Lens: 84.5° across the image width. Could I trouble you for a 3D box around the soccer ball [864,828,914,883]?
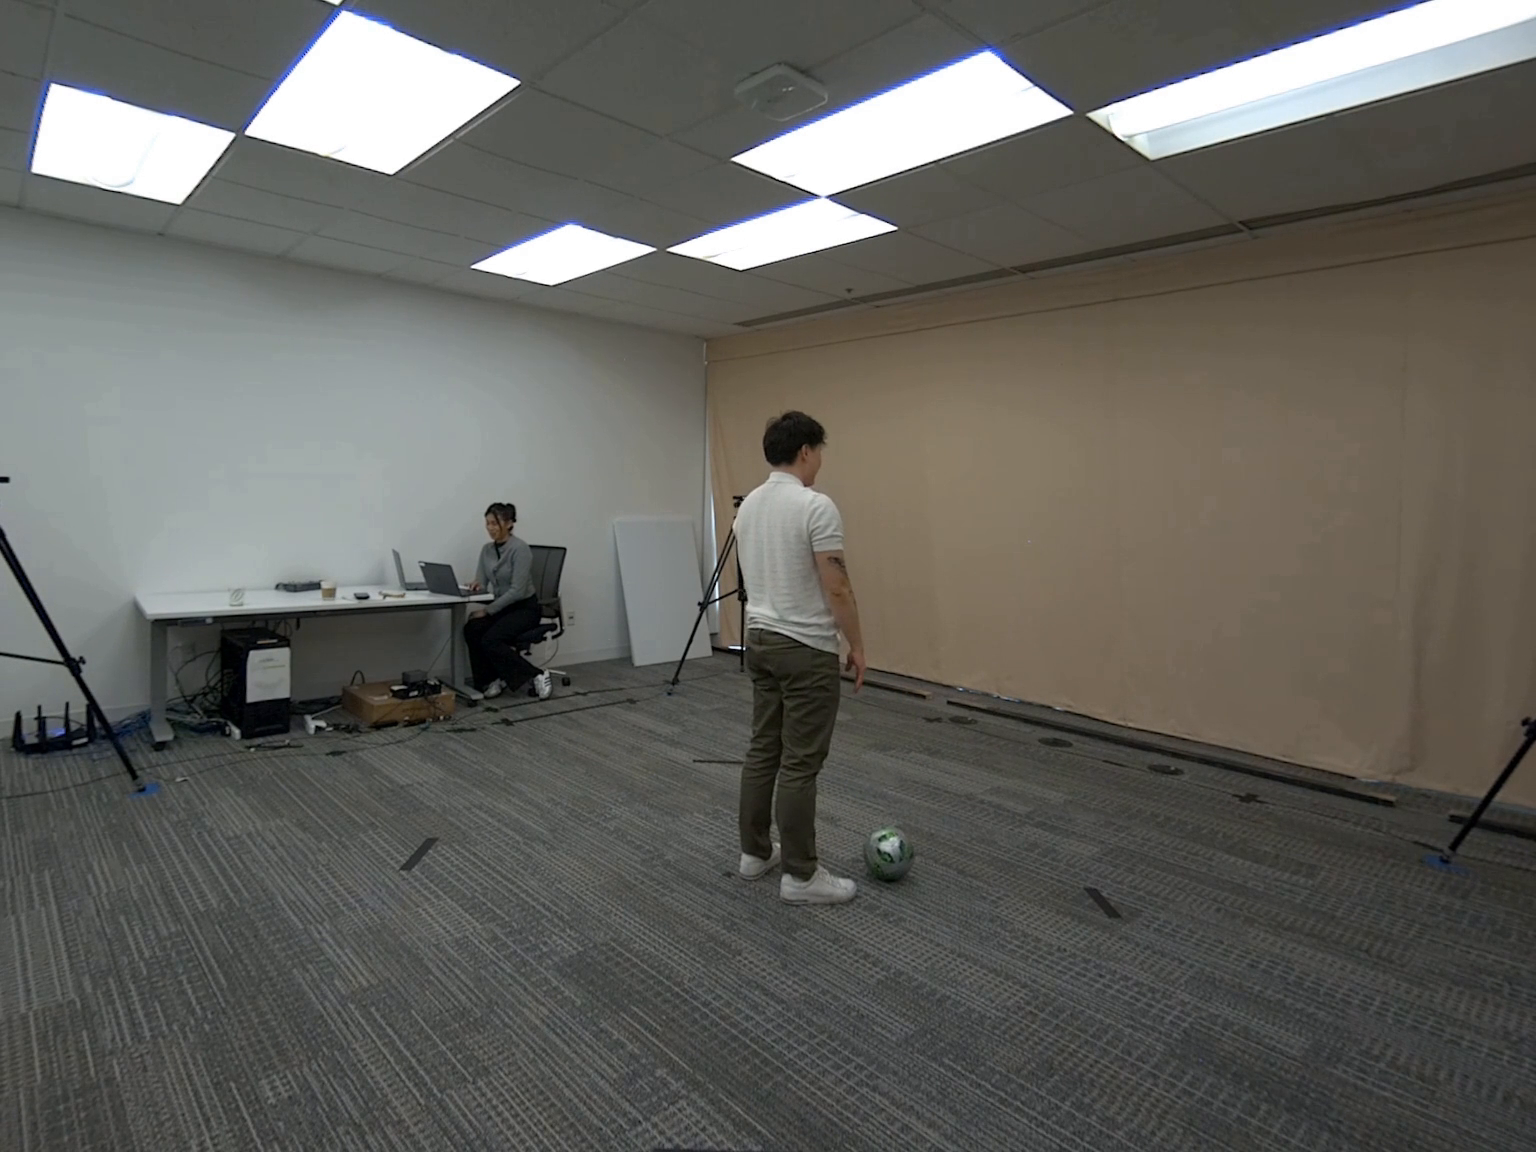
[{"bbox_3d":[0.428,1.022,3.103,0.187,0.187,0.188,1,4,-1],"label":"soccer ball"}]
